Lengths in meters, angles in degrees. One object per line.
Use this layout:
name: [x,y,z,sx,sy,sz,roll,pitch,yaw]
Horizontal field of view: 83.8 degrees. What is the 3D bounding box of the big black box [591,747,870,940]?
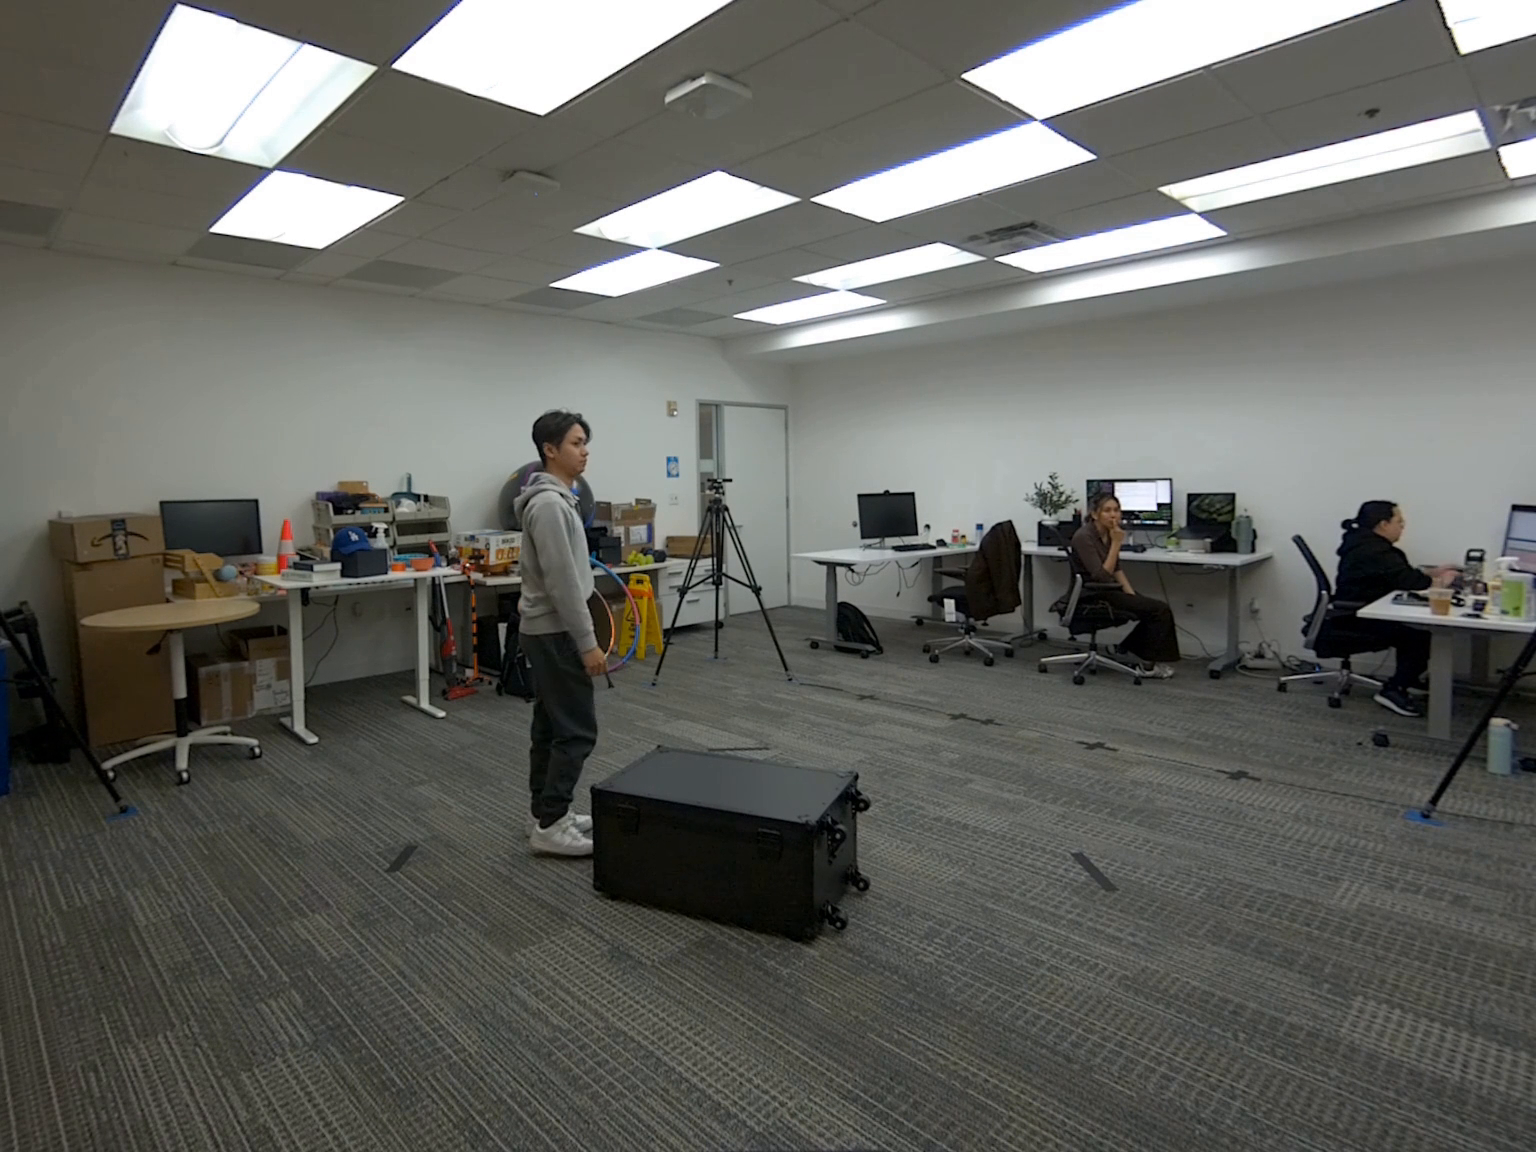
big black box: [-0.163,0.876,2.928,0.881,0.395,0.512,2,5,24]
